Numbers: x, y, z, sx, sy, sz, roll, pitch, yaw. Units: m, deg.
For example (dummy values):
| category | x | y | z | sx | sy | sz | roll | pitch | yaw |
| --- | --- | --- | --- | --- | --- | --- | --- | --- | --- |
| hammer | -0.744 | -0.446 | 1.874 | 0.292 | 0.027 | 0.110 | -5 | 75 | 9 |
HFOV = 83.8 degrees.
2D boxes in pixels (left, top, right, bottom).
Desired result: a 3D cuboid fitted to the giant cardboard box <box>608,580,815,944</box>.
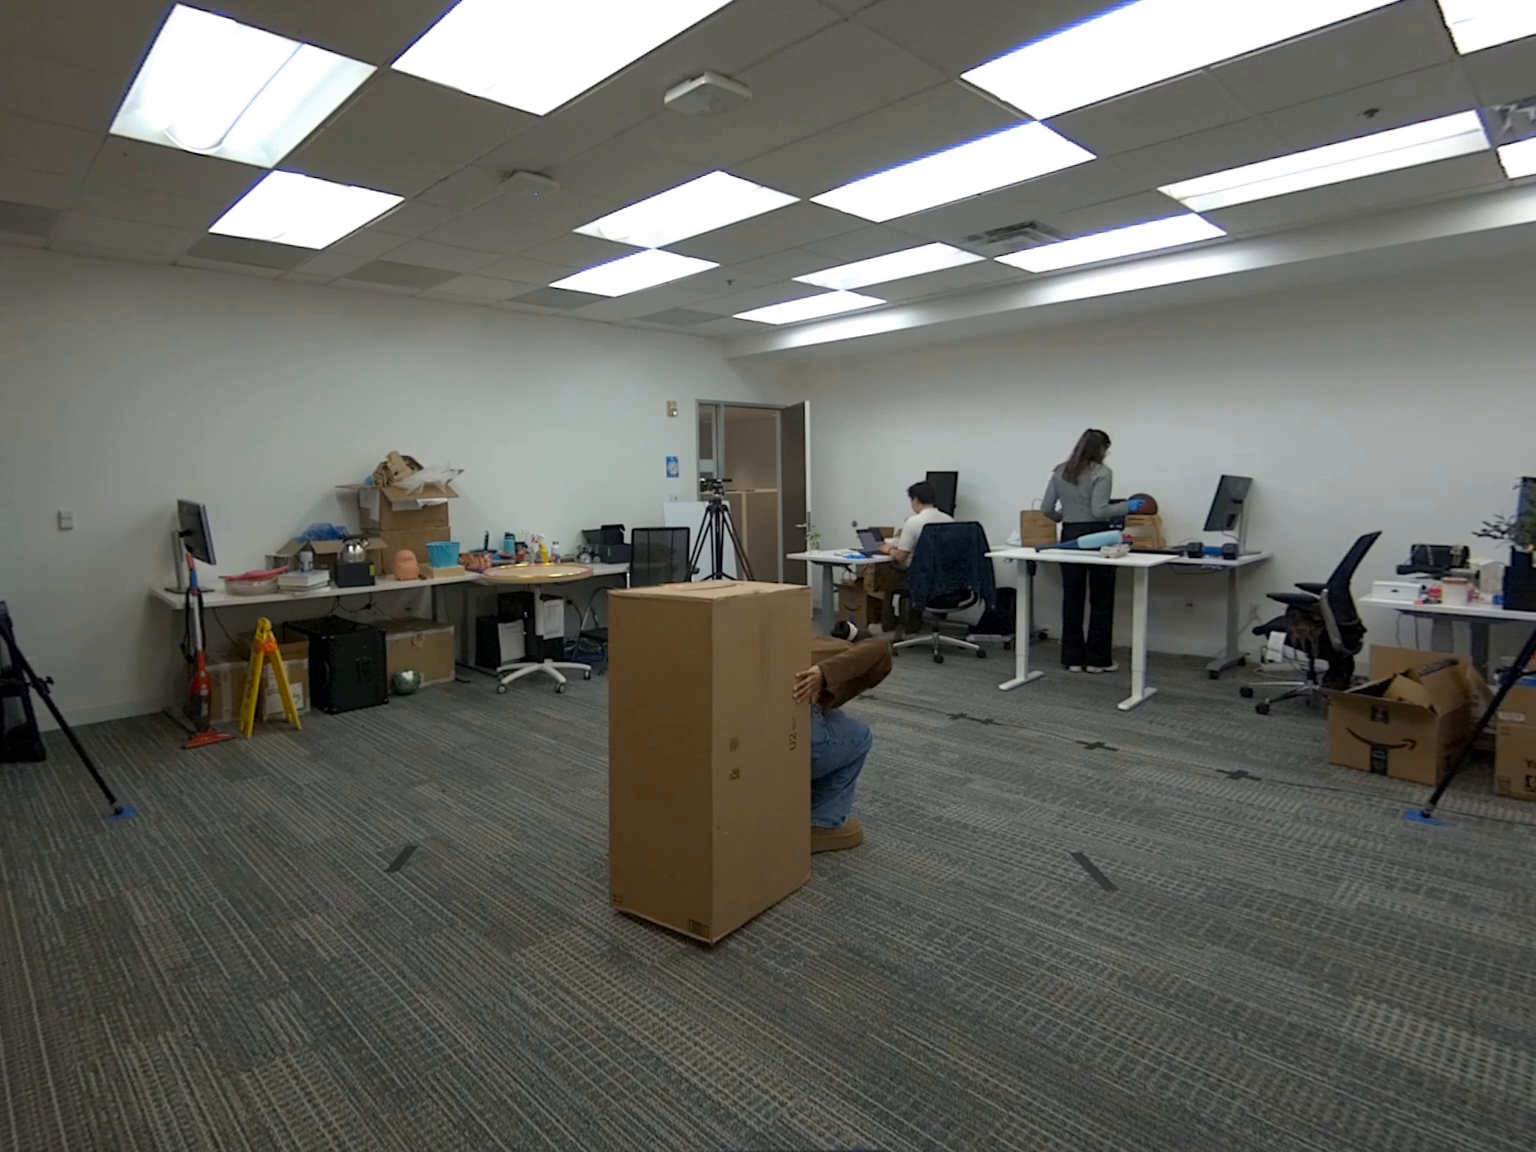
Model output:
| category | x | y | z | sx | sy | sz | roll | pitch | yaw |
| --- | --- | --- | --- | --- | --- | --- | --- | --- | --- |
| giant cardboard box | -0.183 | 0.558 | 2.853 | 0.459 | 1.025 | 0.569 | 2 | 3 | 34 |
